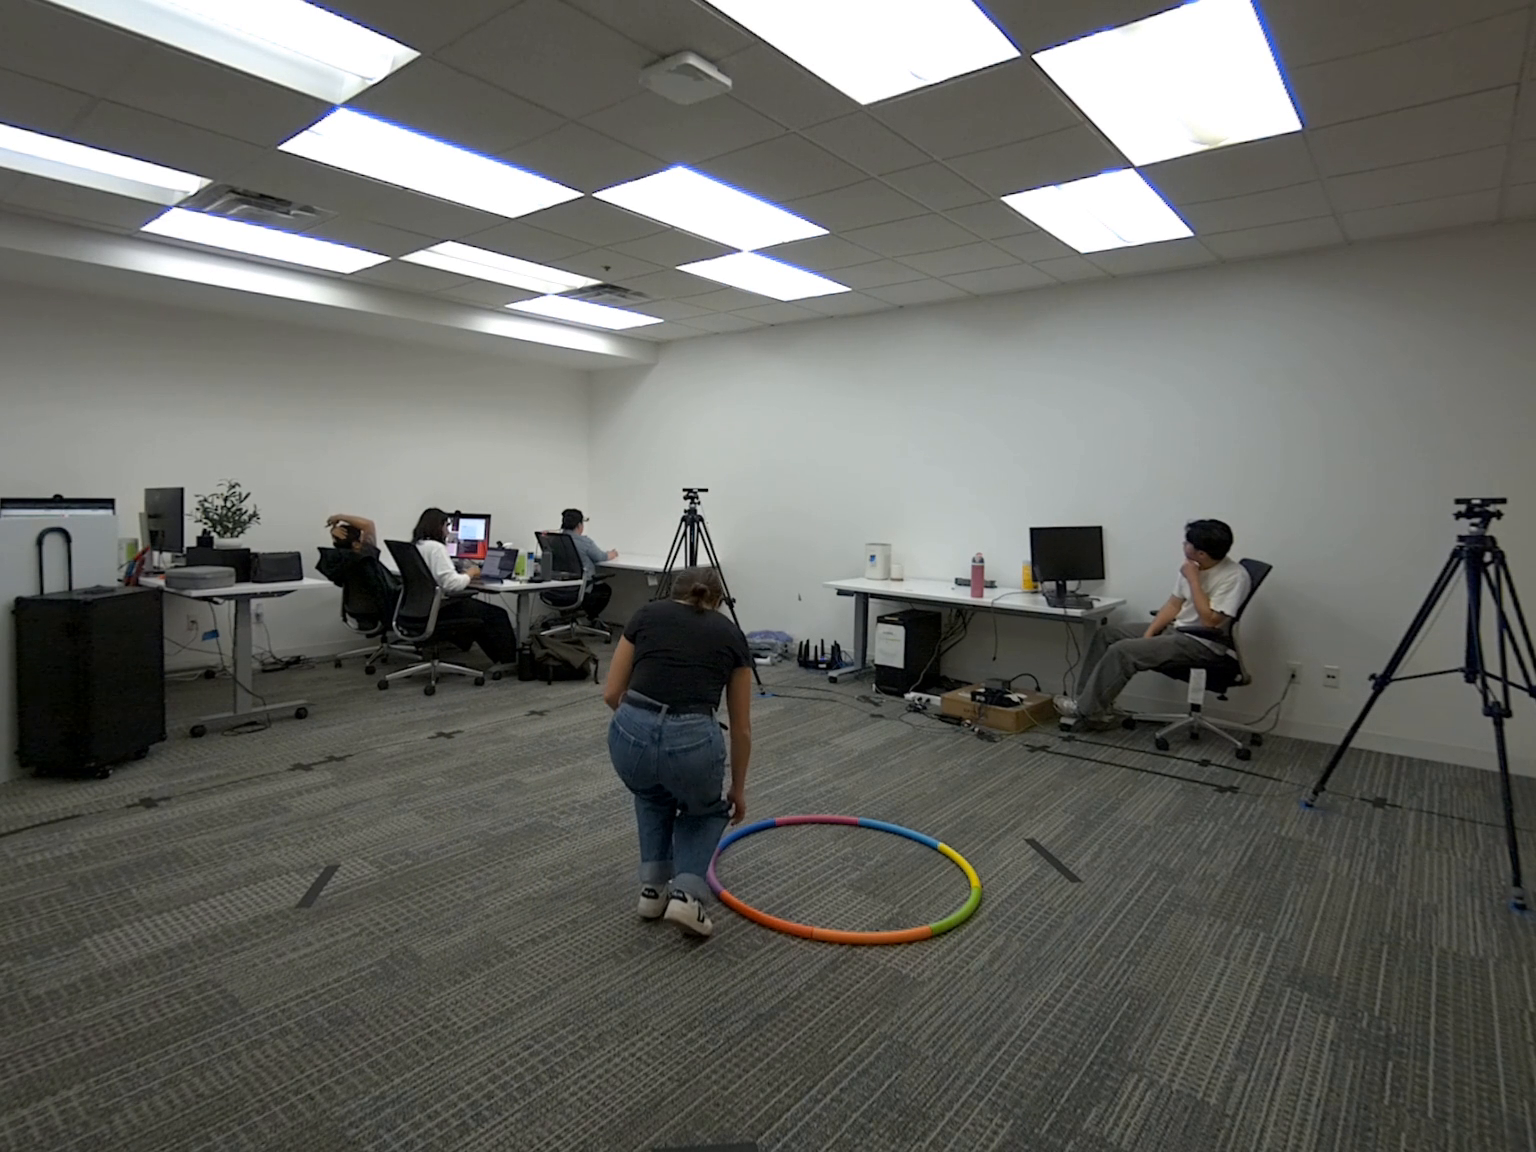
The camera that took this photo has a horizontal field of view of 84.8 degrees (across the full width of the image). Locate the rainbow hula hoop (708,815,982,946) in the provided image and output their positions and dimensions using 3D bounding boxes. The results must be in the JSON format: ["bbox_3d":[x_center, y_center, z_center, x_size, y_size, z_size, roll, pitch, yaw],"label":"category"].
[{"bbox_3d":[0.259,1.048,3.096,0.978,0.035,0.984,1,6,-2],"label":"rainbow hula hoop"}]
